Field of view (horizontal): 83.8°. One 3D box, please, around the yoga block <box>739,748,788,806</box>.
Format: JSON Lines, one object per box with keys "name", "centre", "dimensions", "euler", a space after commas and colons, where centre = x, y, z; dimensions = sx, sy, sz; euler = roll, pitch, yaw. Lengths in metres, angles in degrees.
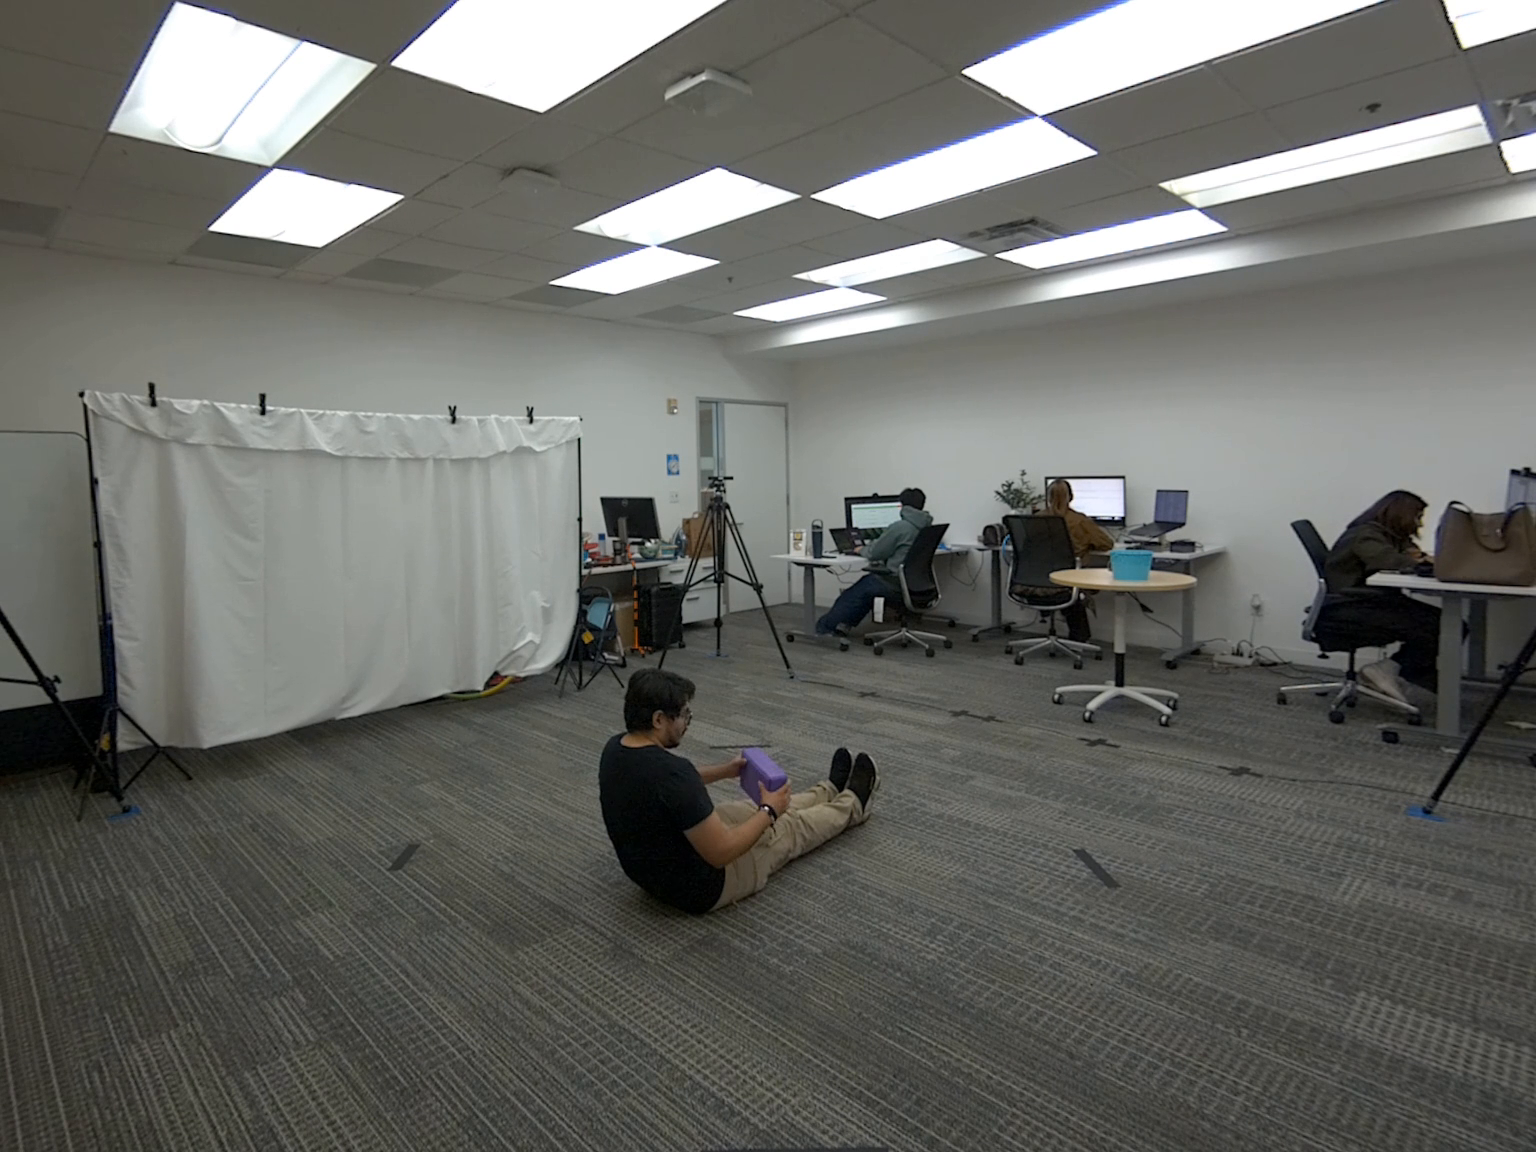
{"name": "yoga block", "centre": [-0.014, 0.715, 2.960], "dimensions": [0.075, 0.147, 0.236], "euler": [-1, 14, -24]}
